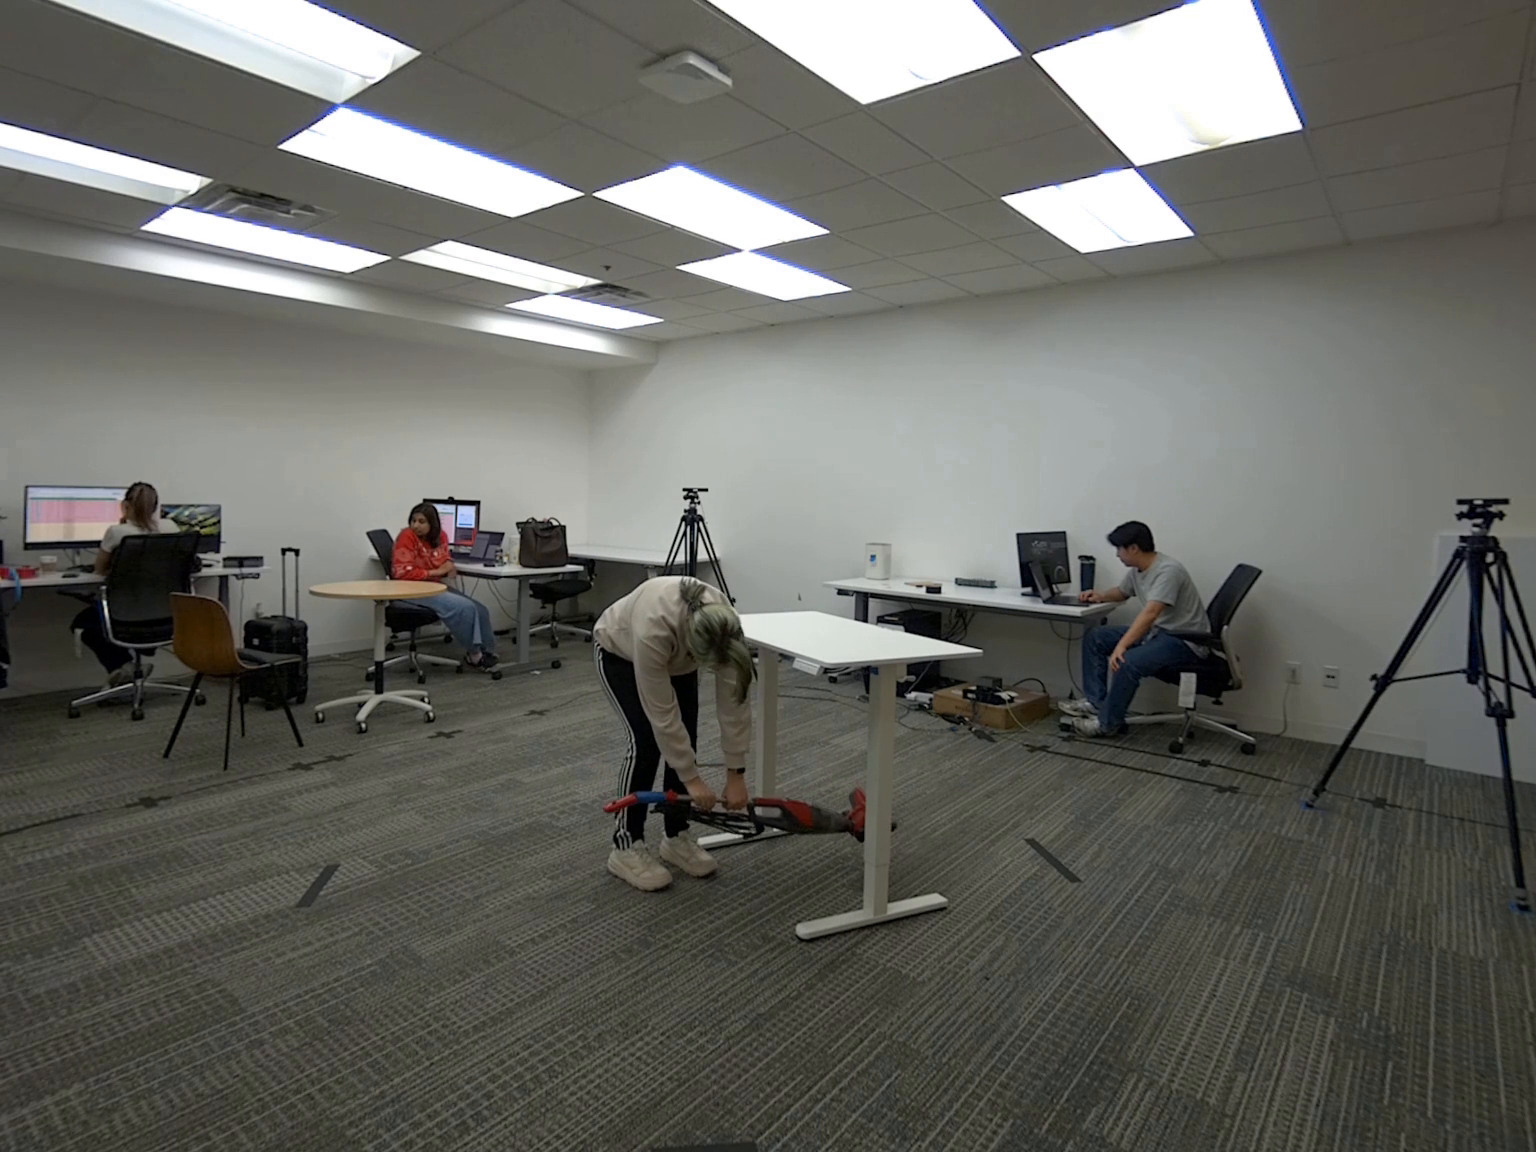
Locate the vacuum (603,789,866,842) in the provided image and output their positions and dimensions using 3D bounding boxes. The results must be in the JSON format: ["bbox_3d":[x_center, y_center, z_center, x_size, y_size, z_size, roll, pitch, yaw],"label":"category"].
[{"bbox_3d":[-0.083,0.818,2.926,1.018,0.143,0.262,10,19,-27],"label":"vacuum"}]
